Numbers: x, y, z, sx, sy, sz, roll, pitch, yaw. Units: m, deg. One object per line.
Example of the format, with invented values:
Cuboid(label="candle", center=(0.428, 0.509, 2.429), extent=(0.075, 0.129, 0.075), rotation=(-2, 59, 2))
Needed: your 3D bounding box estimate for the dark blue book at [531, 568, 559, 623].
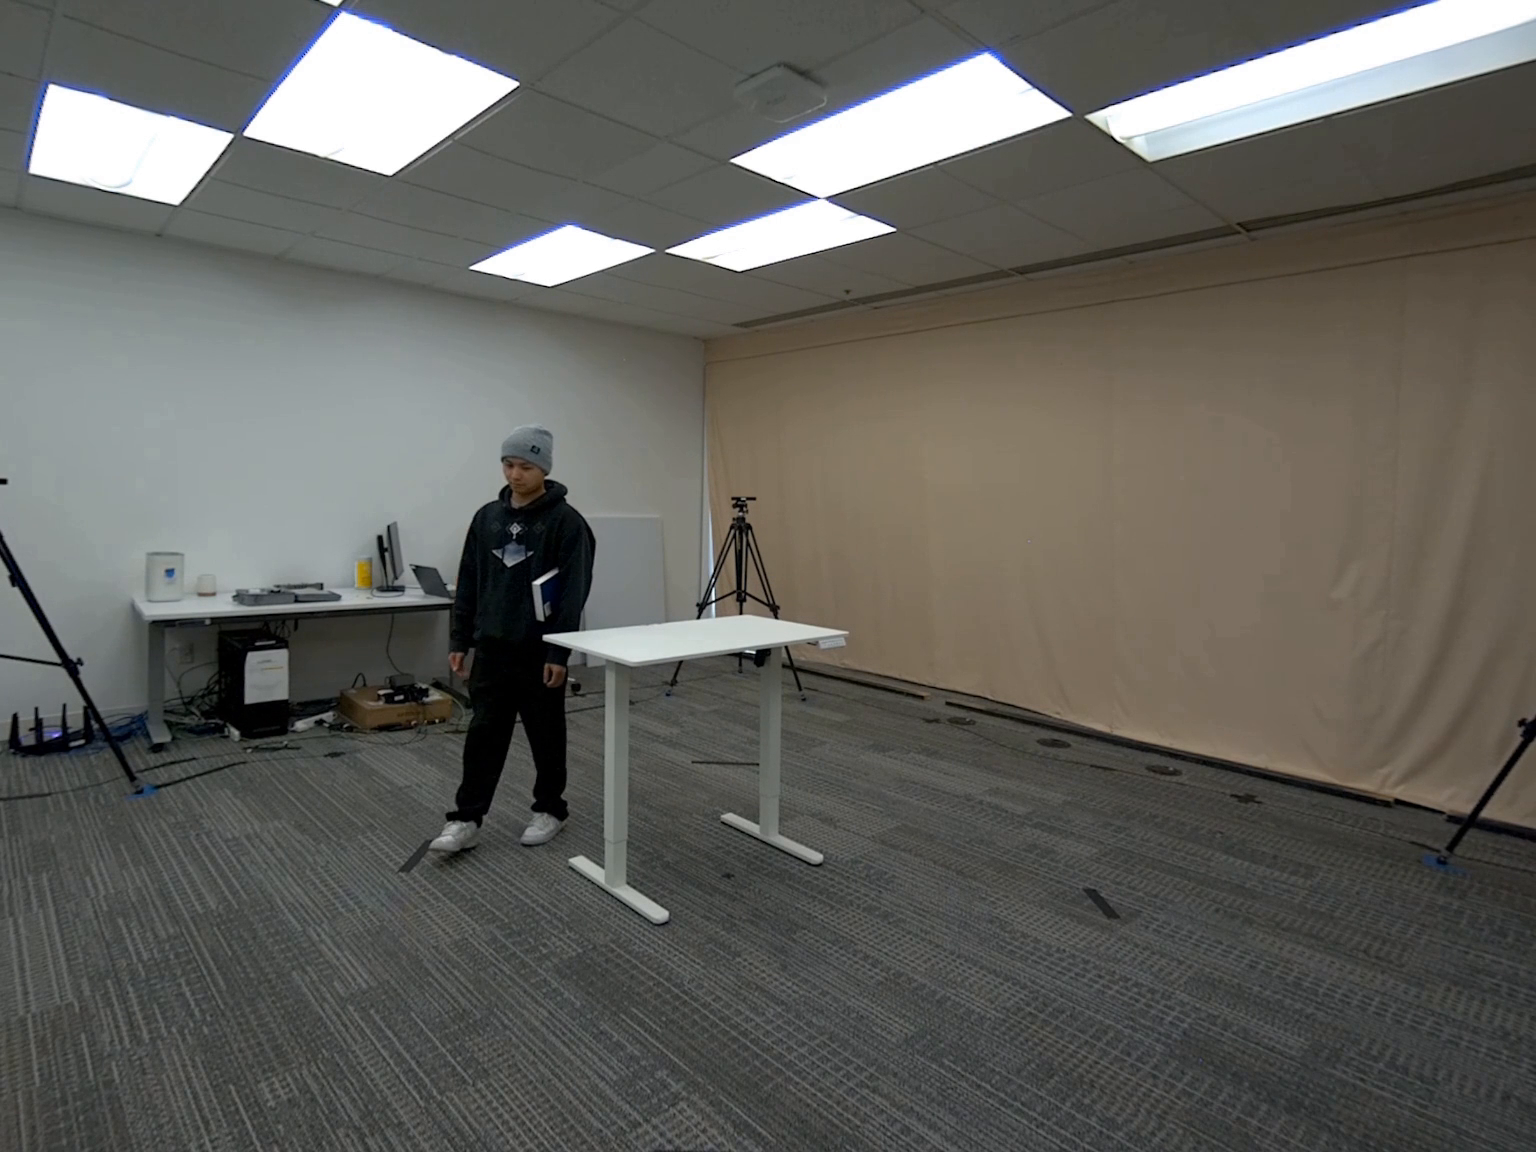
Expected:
Cuboid(label="dark blue book", center=(-0.838, 0.049, 3.279), extent=(0.046, 0.161, 0.244), rotation=(9, 26, 22))
